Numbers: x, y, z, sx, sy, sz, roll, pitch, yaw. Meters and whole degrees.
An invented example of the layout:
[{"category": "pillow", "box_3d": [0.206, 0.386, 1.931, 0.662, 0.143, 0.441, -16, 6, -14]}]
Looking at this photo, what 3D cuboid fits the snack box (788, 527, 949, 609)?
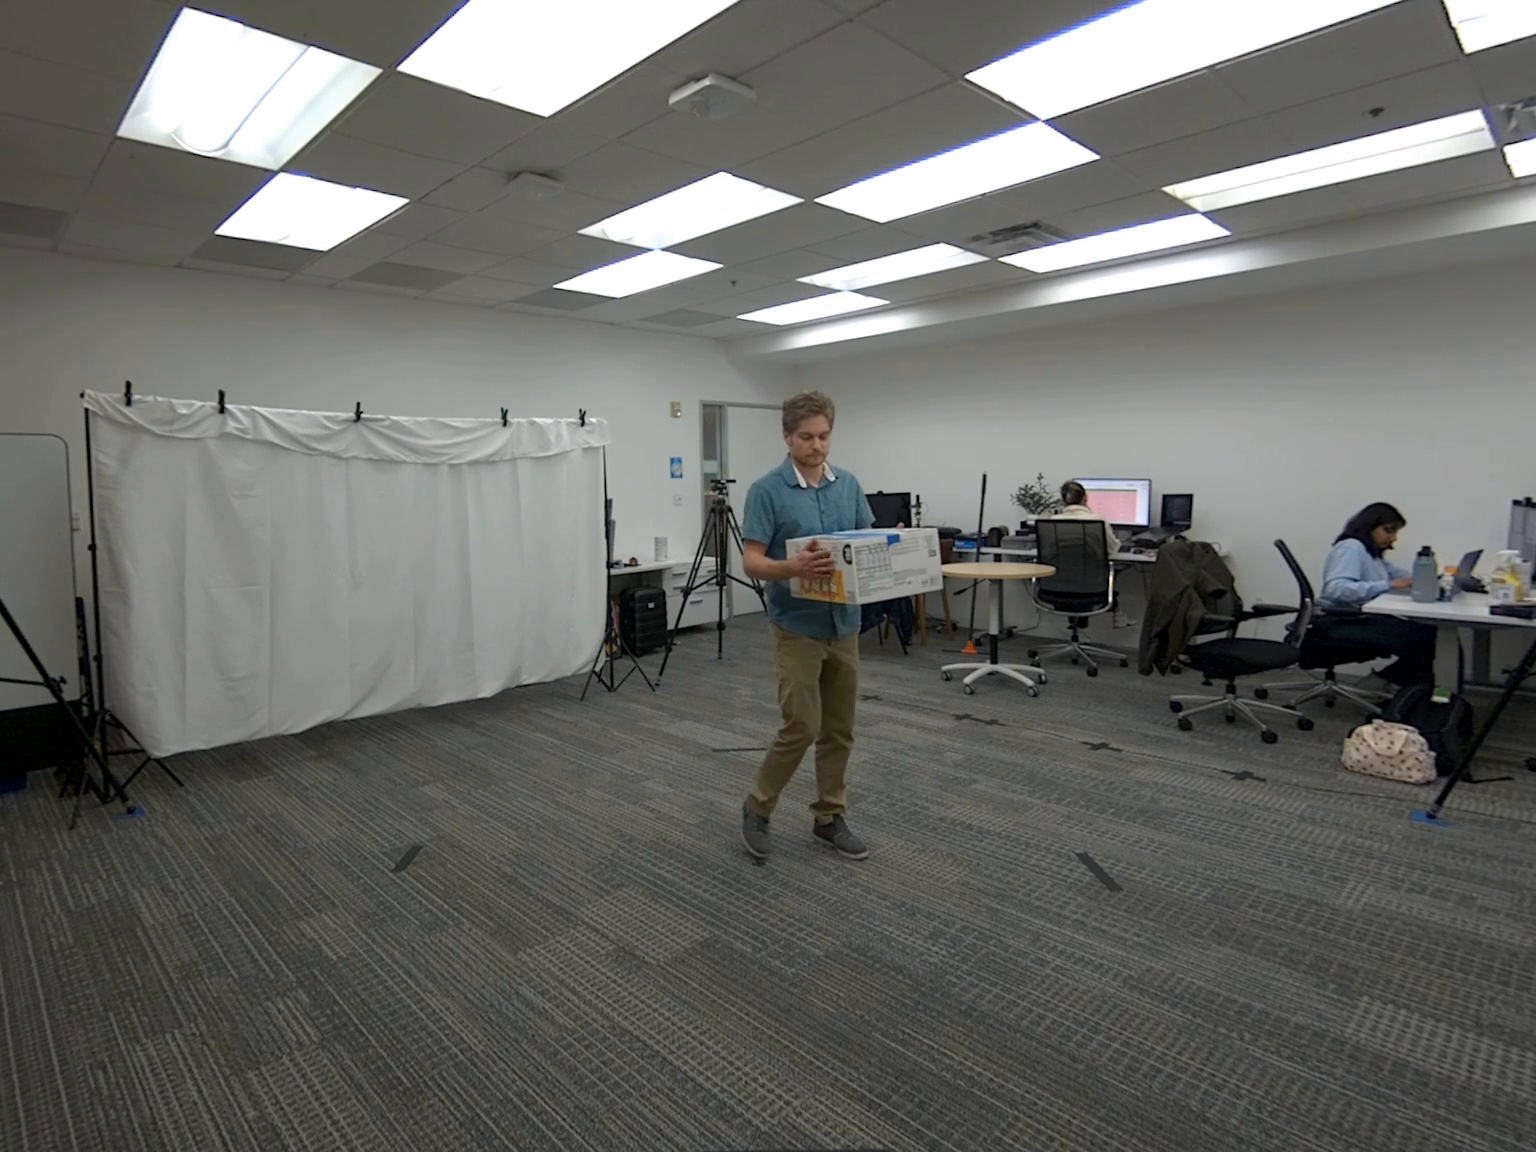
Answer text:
[{"category": "snack box", "box_3d": [0.323, -0.041, 2.879, 0.334, 0.204, 0.415, -10, 7, -28]}]
